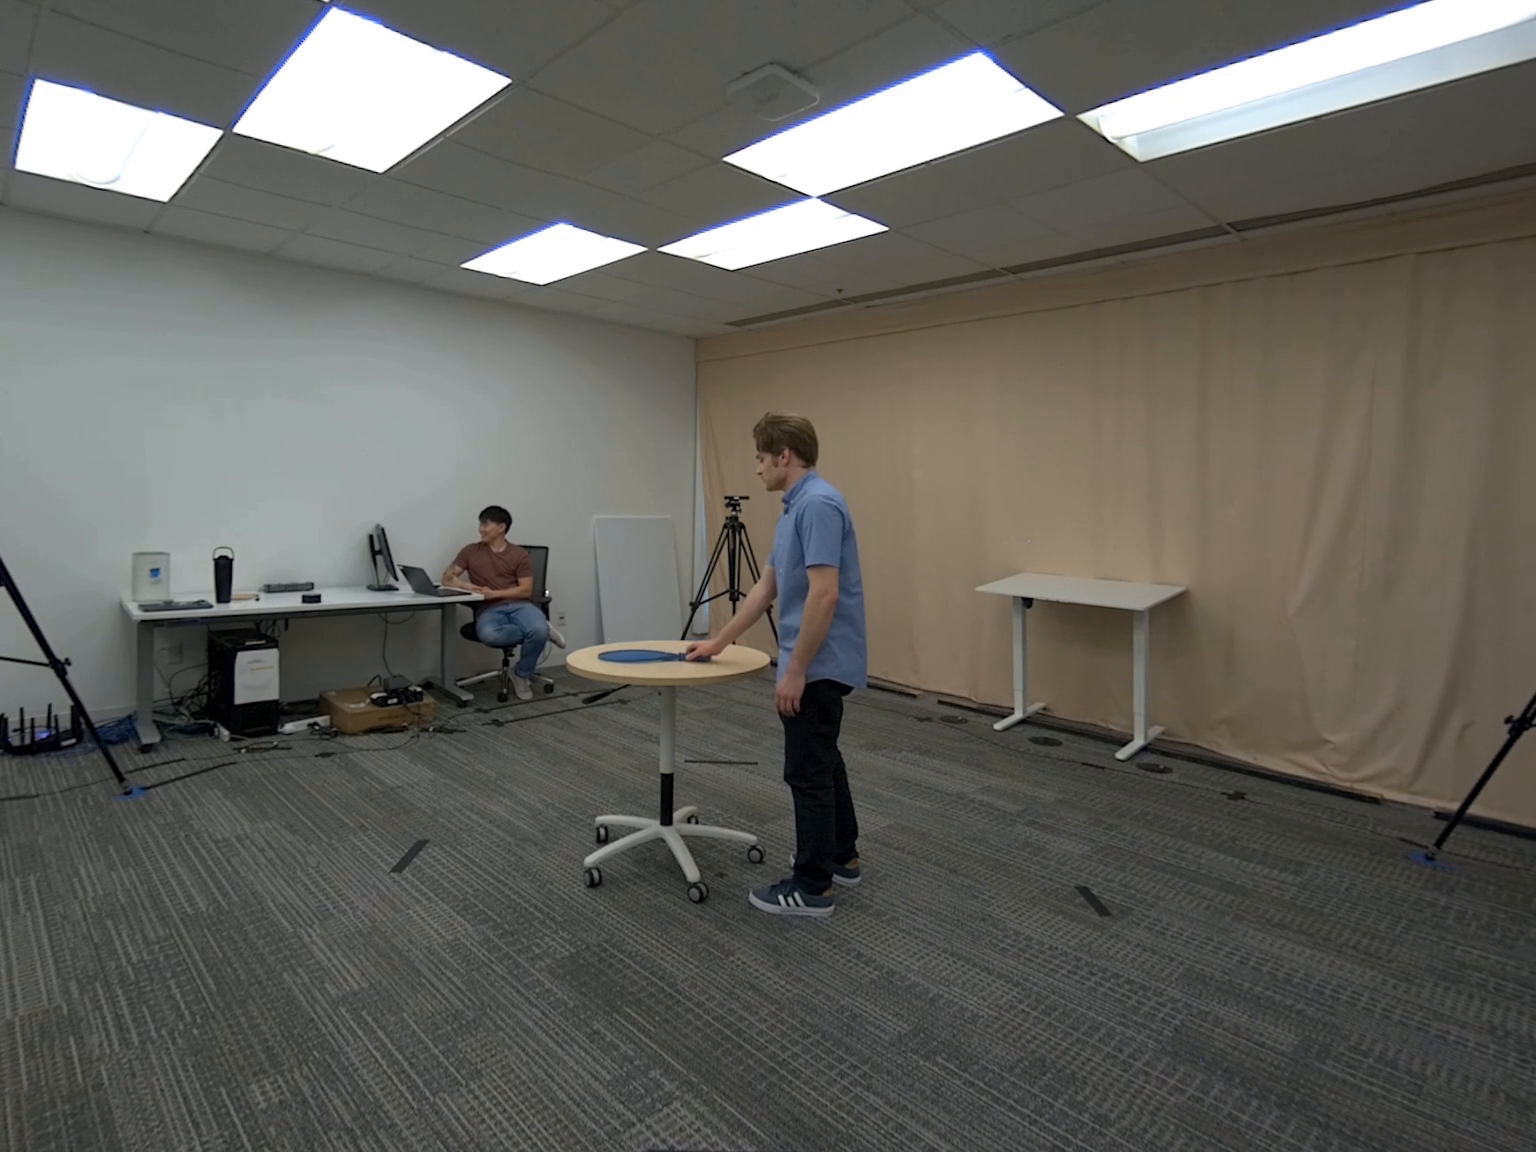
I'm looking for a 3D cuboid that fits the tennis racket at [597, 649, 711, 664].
[{"bbox_3d":[-0.432,0.302,3.133,0.436,0.032,0.212,0,4,9],"label":"tennis racket"}]
